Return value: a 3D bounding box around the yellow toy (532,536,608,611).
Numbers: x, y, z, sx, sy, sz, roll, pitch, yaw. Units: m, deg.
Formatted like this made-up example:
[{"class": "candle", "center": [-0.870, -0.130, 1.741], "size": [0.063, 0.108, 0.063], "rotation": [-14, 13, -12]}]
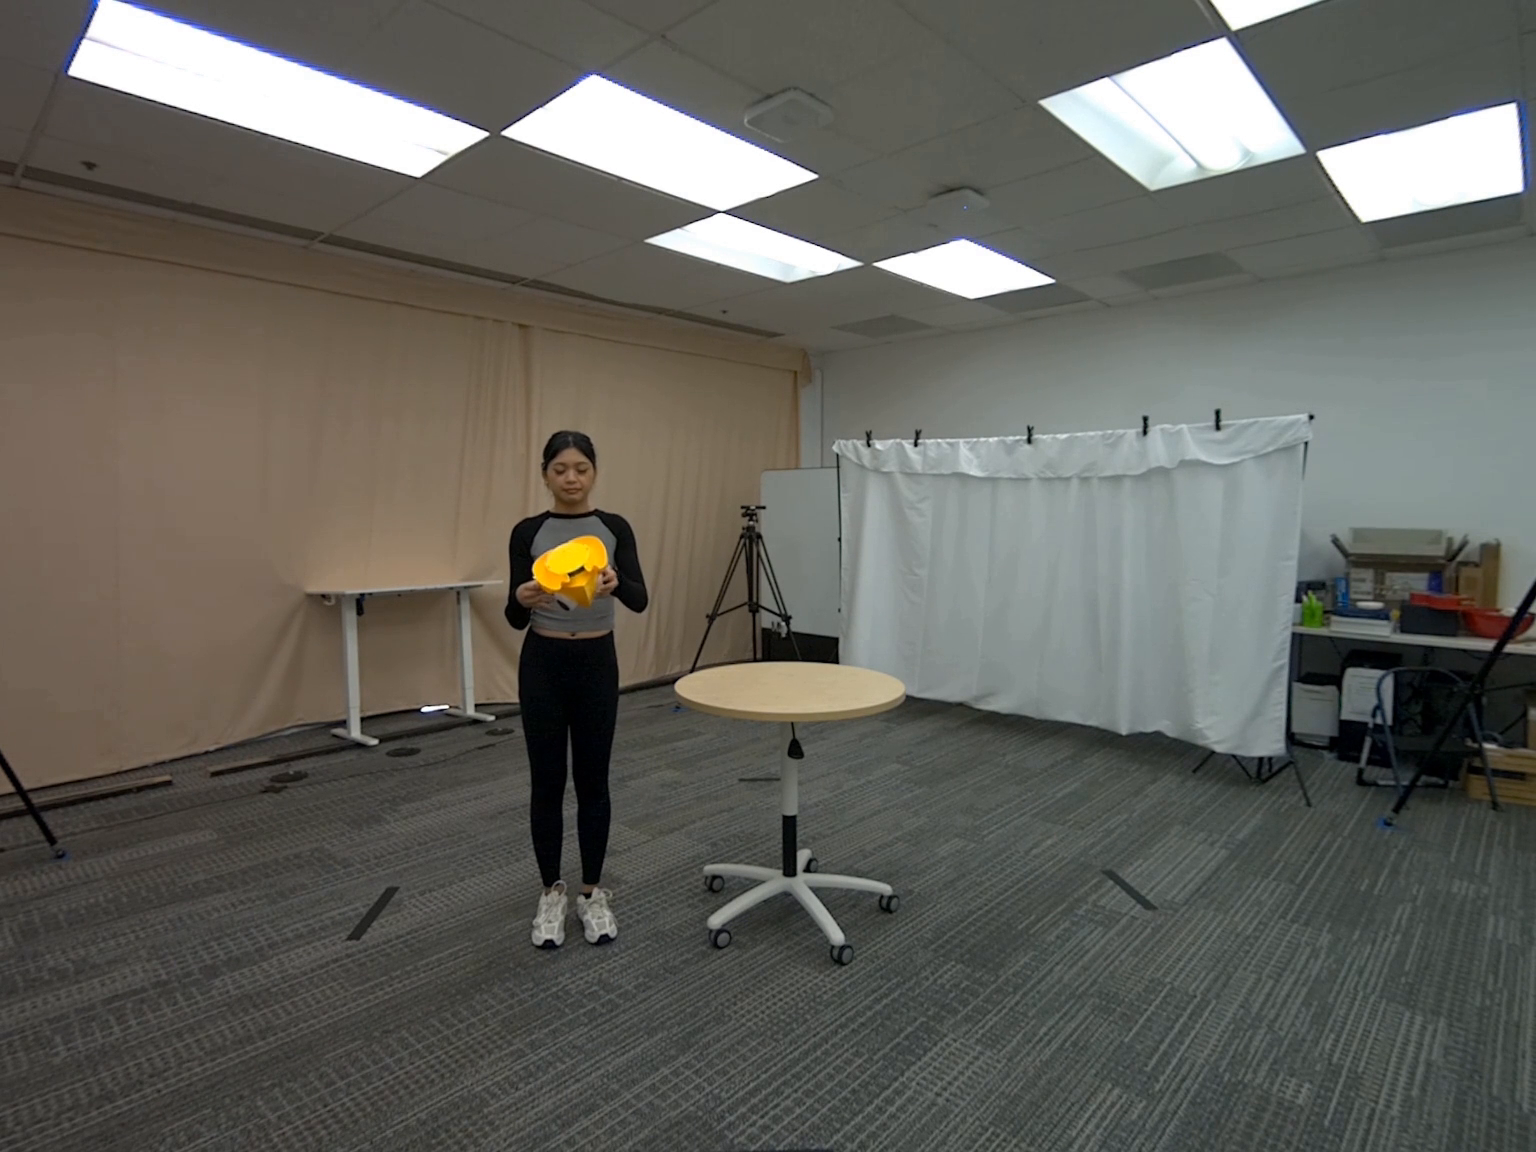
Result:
[{"class": "yellow toy", "center": [-0.524, 0.034, 2.362], "size": [0.203, 0.225, 0.200], "rotation": [-27, 45, -16]}]
